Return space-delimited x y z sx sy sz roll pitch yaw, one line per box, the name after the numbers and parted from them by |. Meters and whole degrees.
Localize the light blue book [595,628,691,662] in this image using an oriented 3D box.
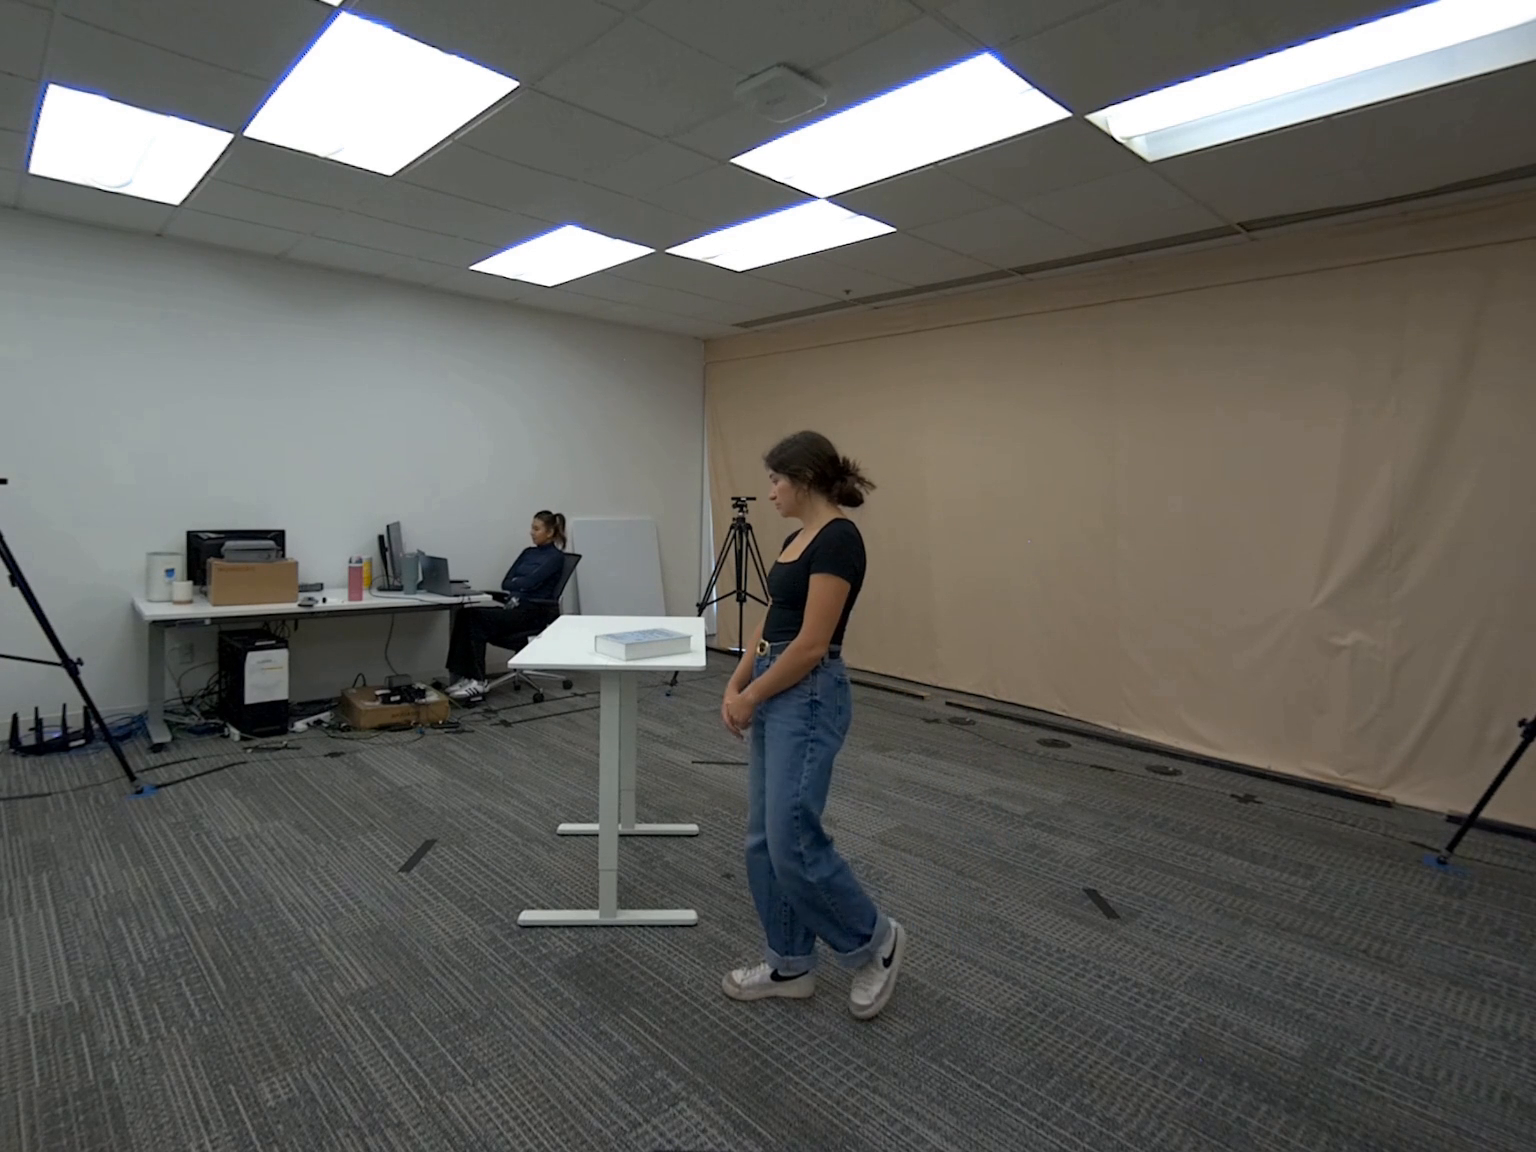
-0.418 0.223 2.758 0.255 0.059 0.196 -4 7 -42 | light blue book
